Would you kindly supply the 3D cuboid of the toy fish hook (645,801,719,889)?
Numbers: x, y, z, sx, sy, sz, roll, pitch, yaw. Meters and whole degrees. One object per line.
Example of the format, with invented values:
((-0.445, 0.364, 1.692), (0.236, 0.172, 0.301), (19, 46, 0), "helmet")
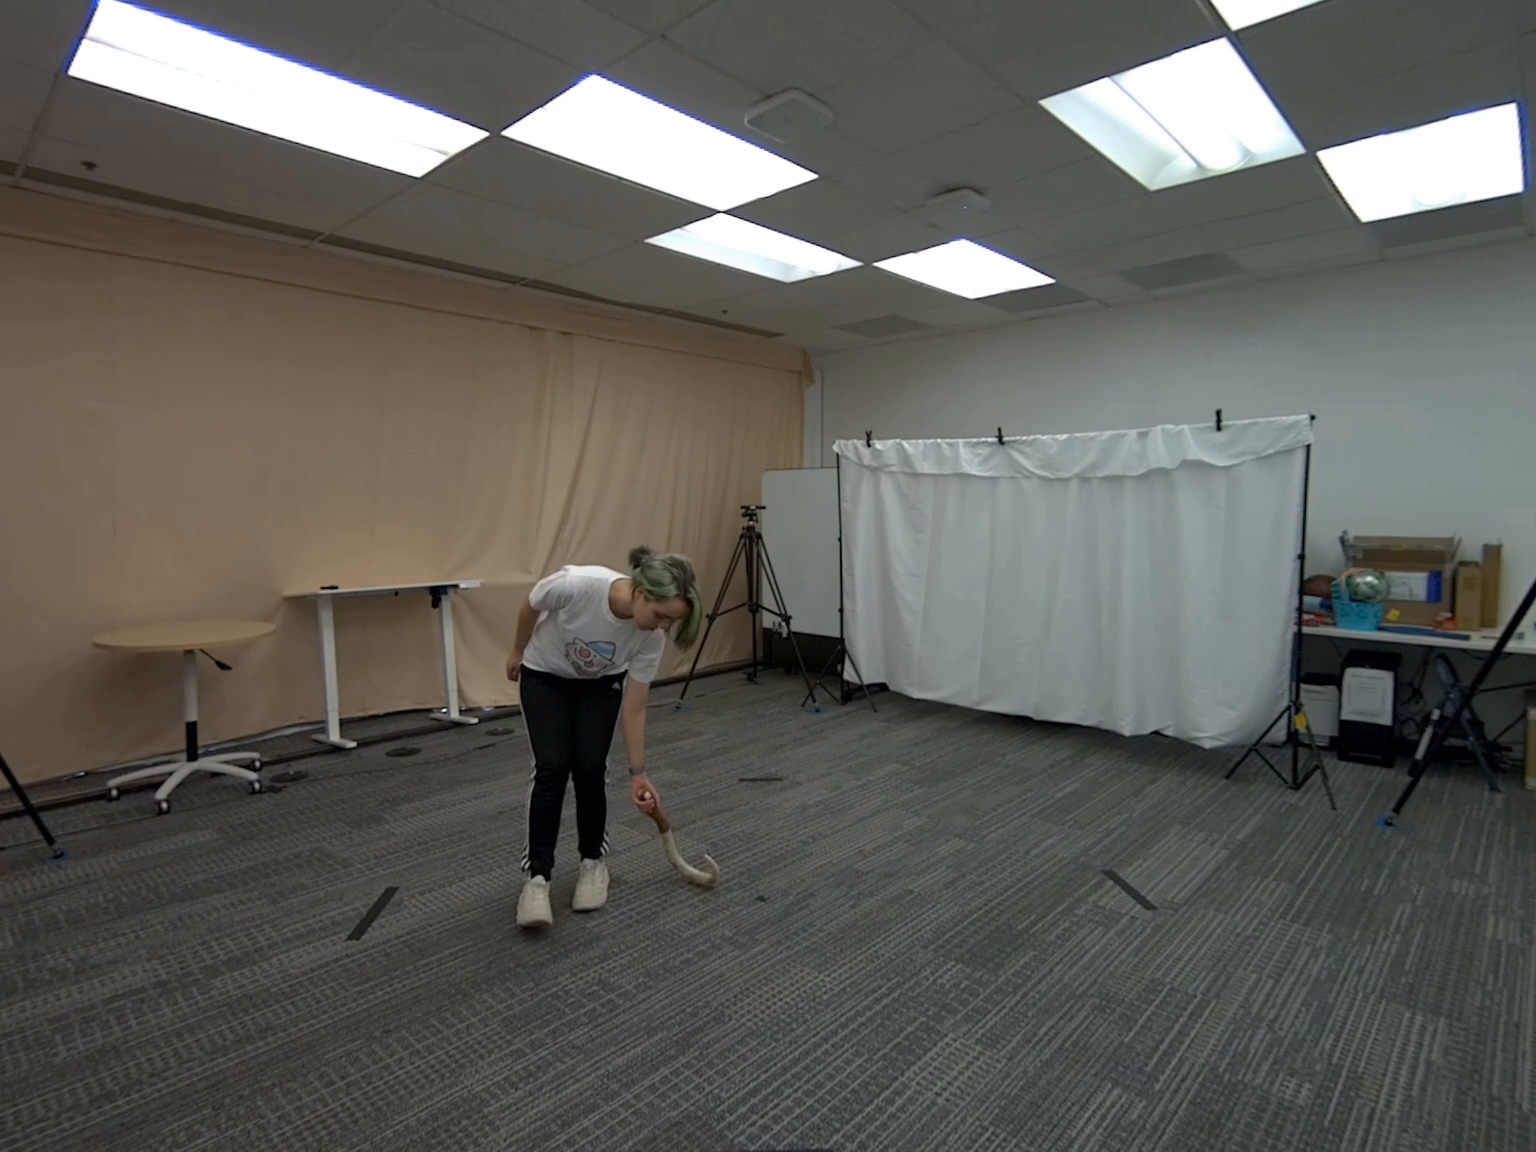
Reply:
((-0.310, 0.939, 2.978), (0.231, 0.493, 0.048), (-4, 36, 31), "toy fish hook")
